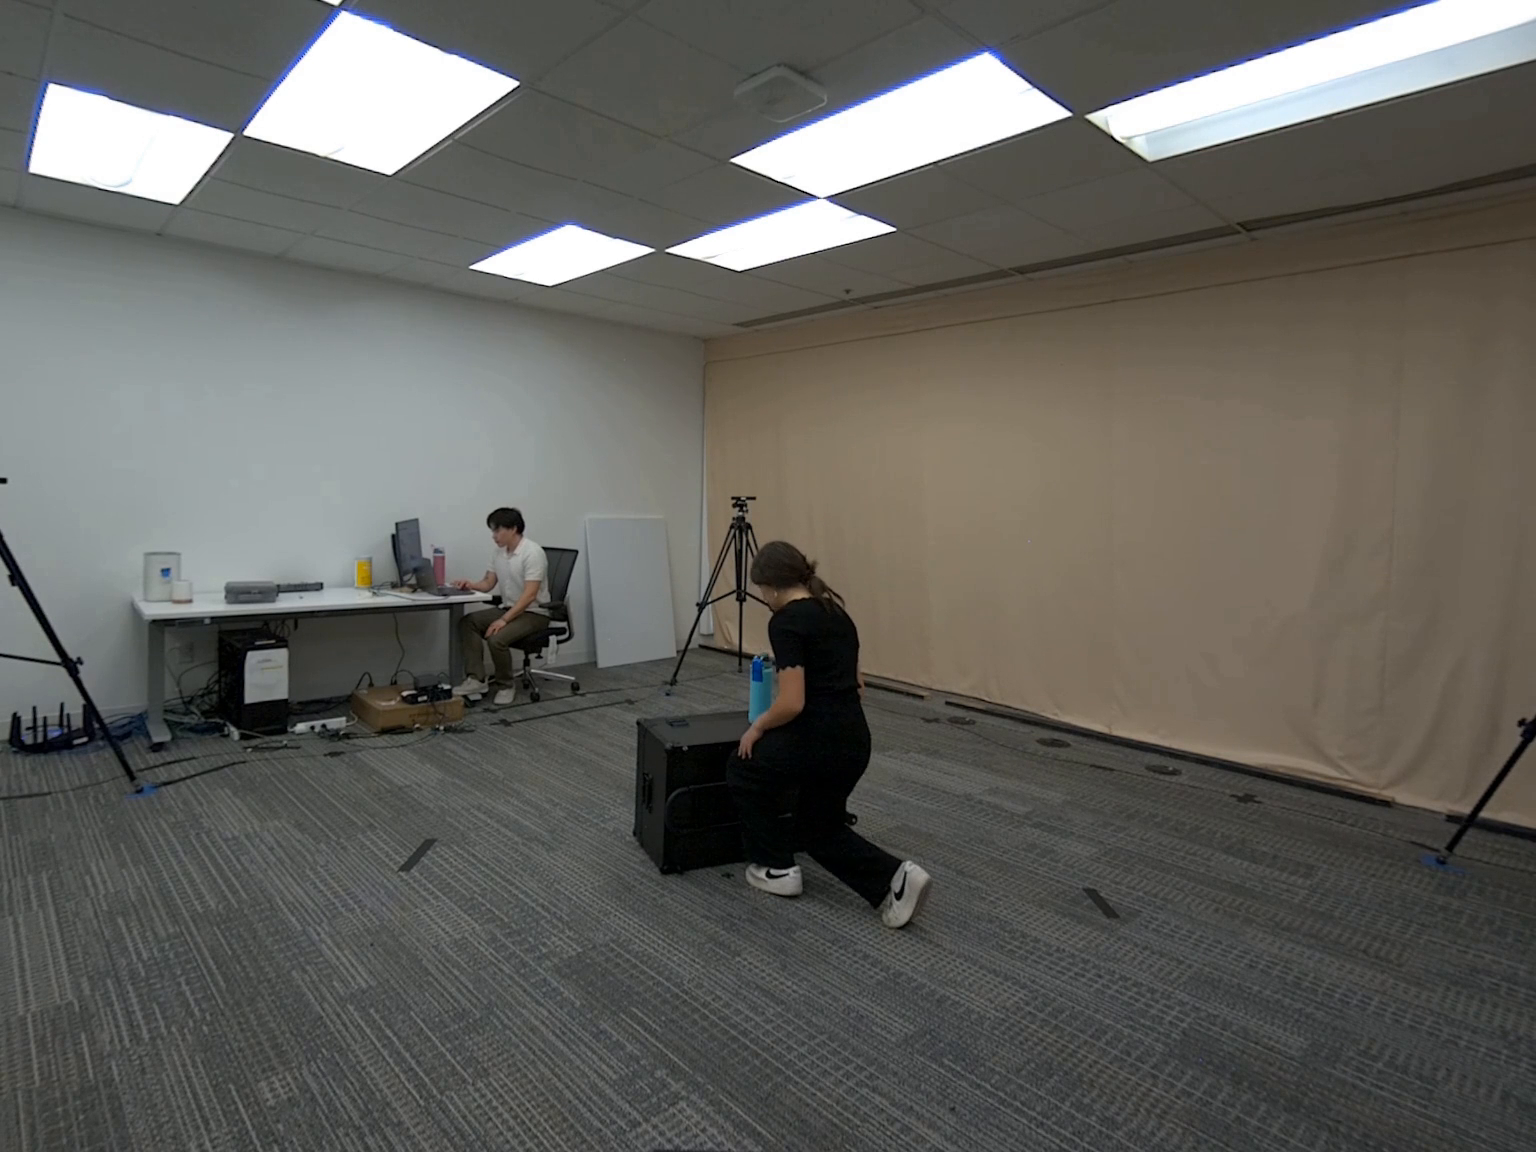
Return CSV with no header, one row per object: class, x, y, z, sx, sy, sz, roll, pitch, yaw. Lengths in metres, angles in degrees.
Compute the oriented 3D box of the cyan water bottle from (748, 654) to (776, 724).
cyan water bottle,-0.035,0.453,3.403,0.092,0.282,0.093,1,5,-1
